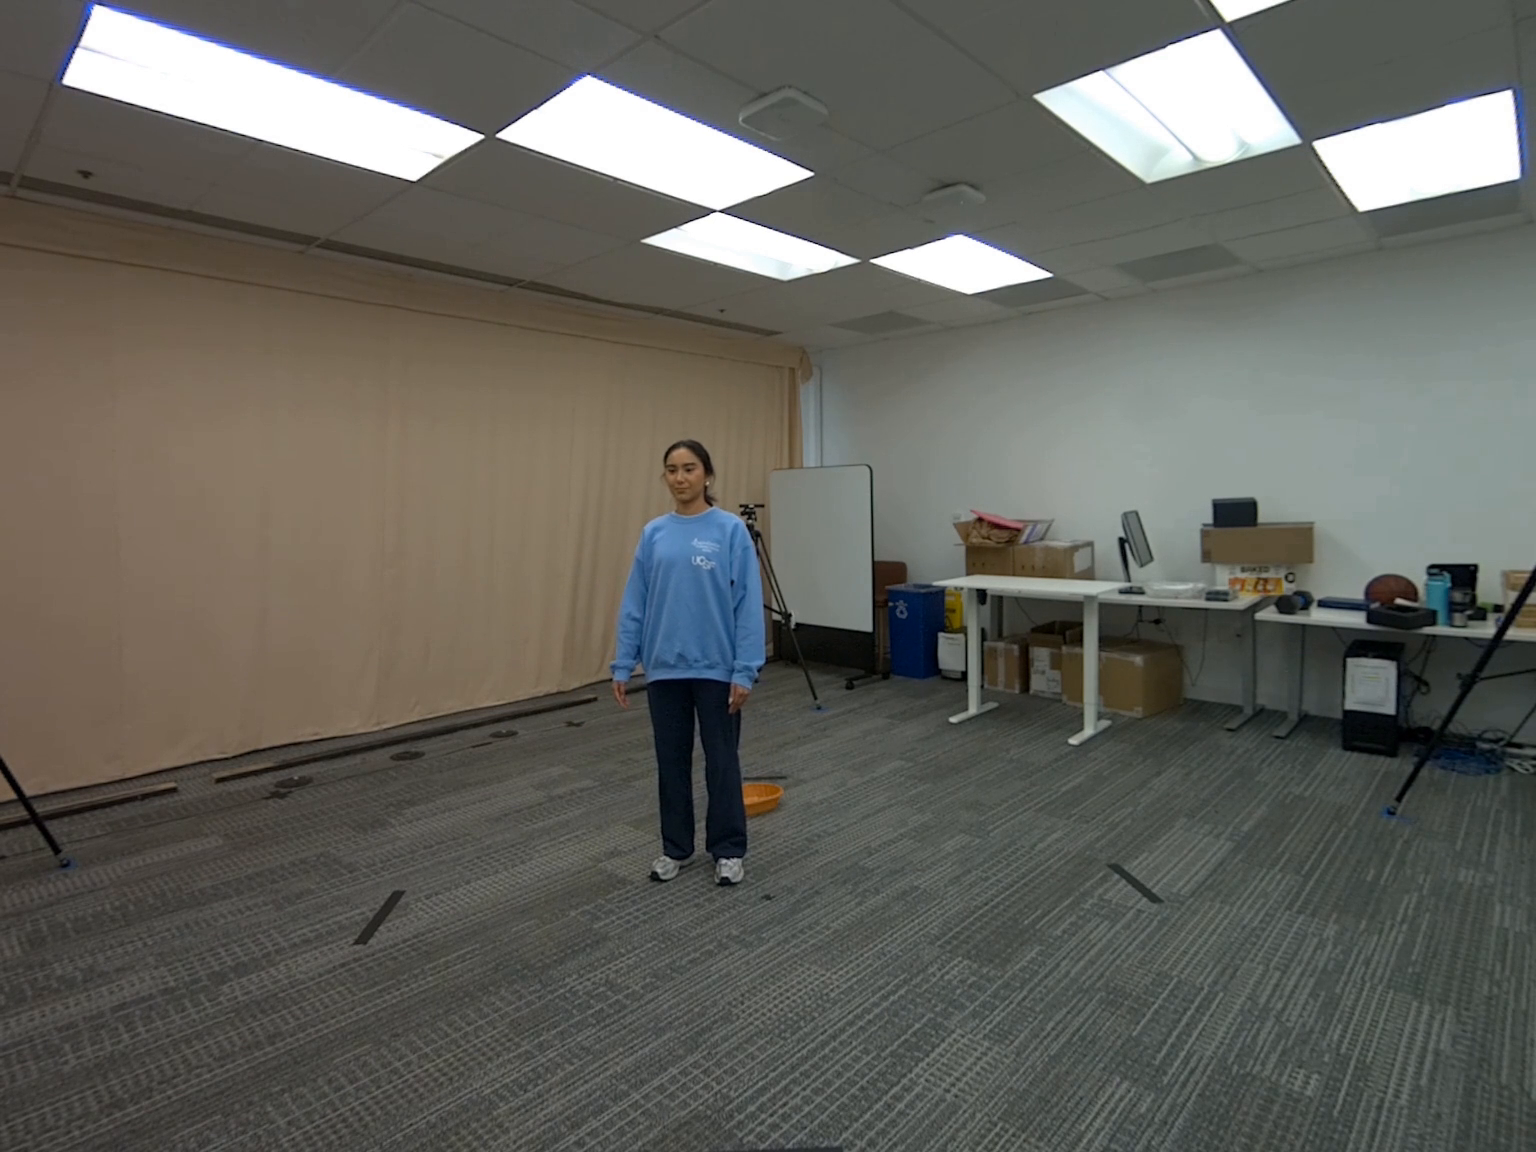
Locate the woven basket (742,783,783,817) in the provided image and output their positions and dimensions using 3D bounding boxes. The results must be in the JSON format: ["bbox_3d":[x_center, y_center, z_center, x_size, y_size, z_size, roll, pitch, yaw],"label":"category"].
[{"bbox_3d":[-0.089,1.029,3.863,0.340,0.073,0.260,-4,4,-37],"label":"woven basket"}]
